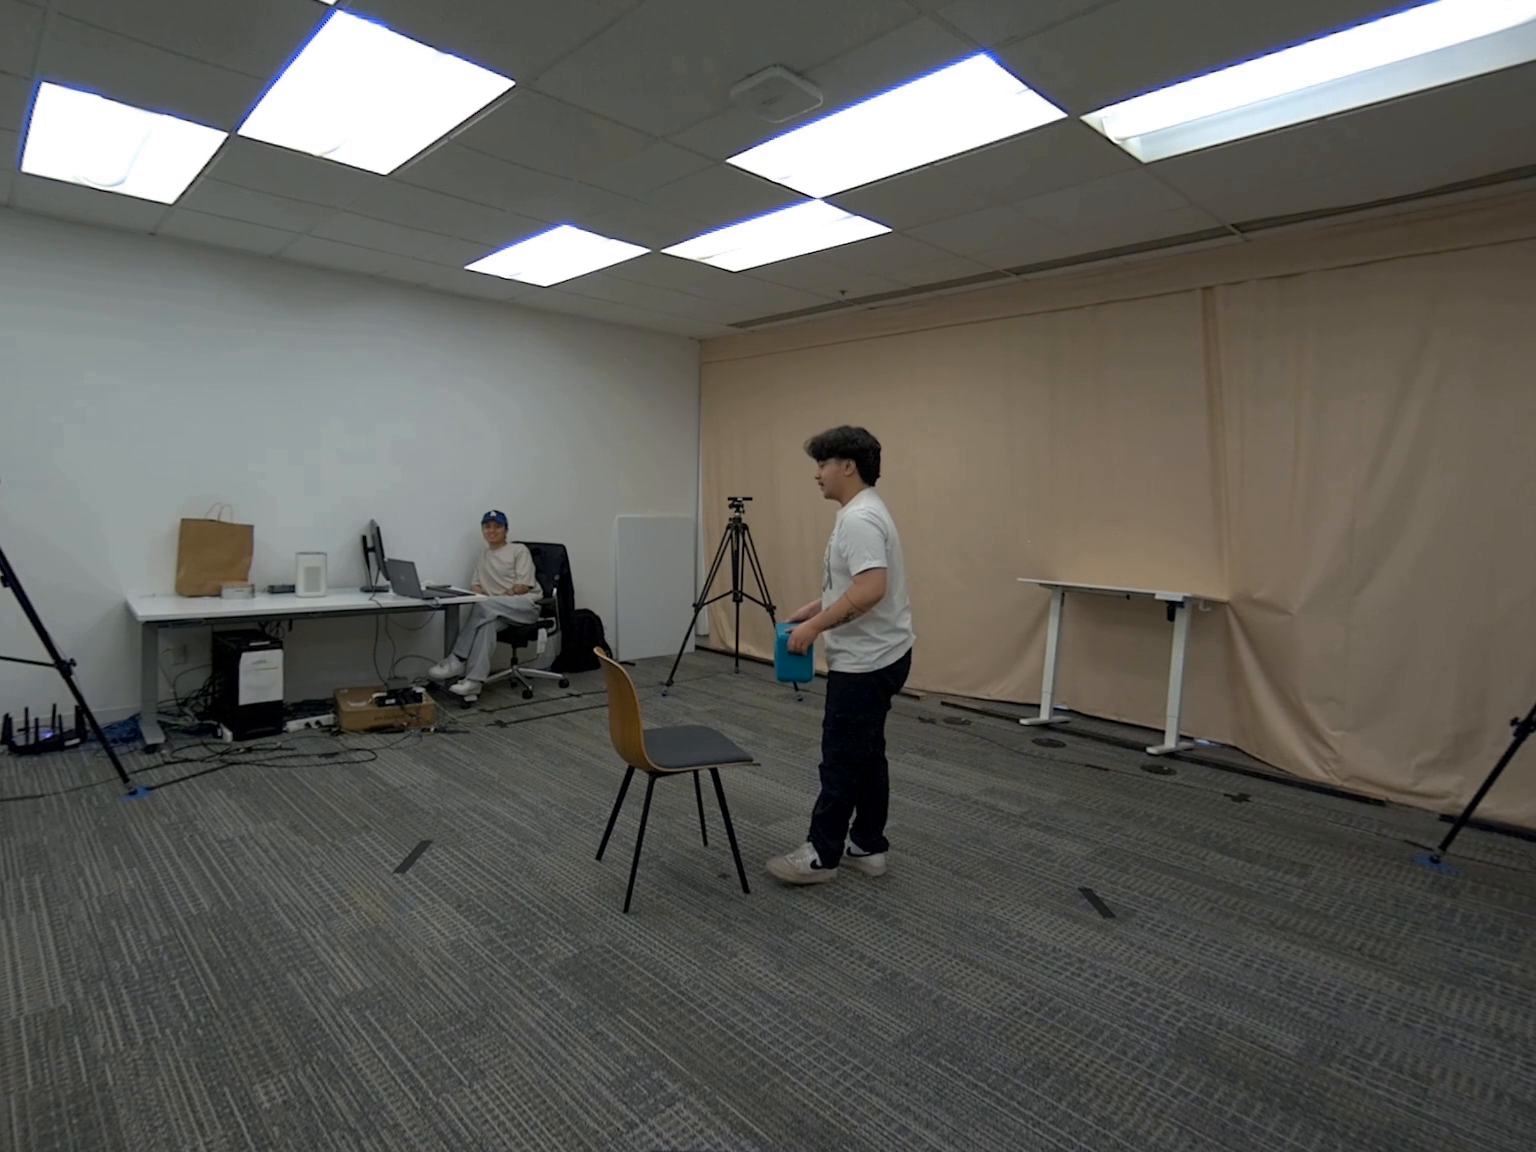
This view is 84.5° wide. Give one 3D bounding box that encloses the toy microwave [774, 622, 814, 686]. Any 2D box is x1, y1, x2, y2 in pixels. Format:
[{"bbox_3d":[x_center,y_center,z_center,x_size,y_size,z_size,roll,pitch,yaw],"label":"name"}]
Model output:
[{"bbox_3d":[0.112,0.289,3.161,0.153,0.183,0.286,0,5,5],"label":"toy microwave"}]
